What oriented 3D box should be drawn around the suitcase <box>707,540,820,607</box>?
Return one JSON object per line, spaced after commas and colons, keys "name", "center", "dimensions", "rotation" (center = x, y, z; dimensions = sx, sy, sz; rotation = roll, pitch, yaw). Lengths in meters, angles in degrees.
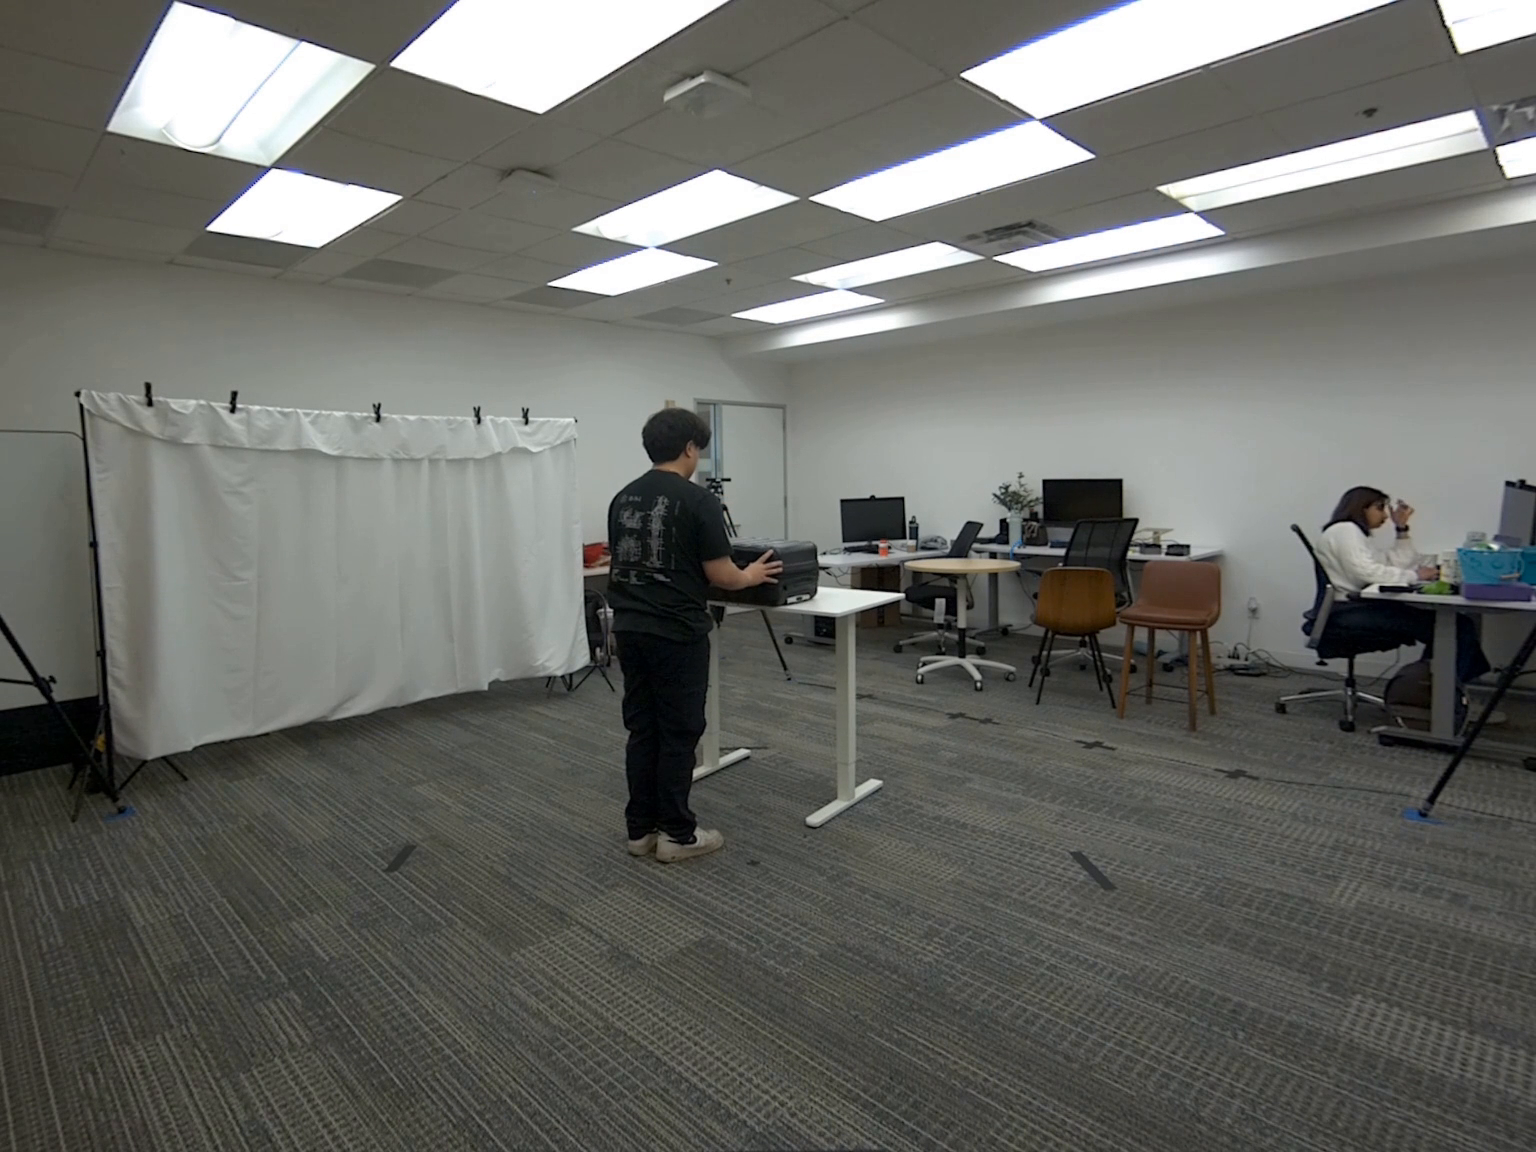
{"name": "suitcase", "center": [-0.069, -0.023, 3.671], "dimensions": [0.566, 0.247, 0.366], "rotation": [5, 8, 40]}
